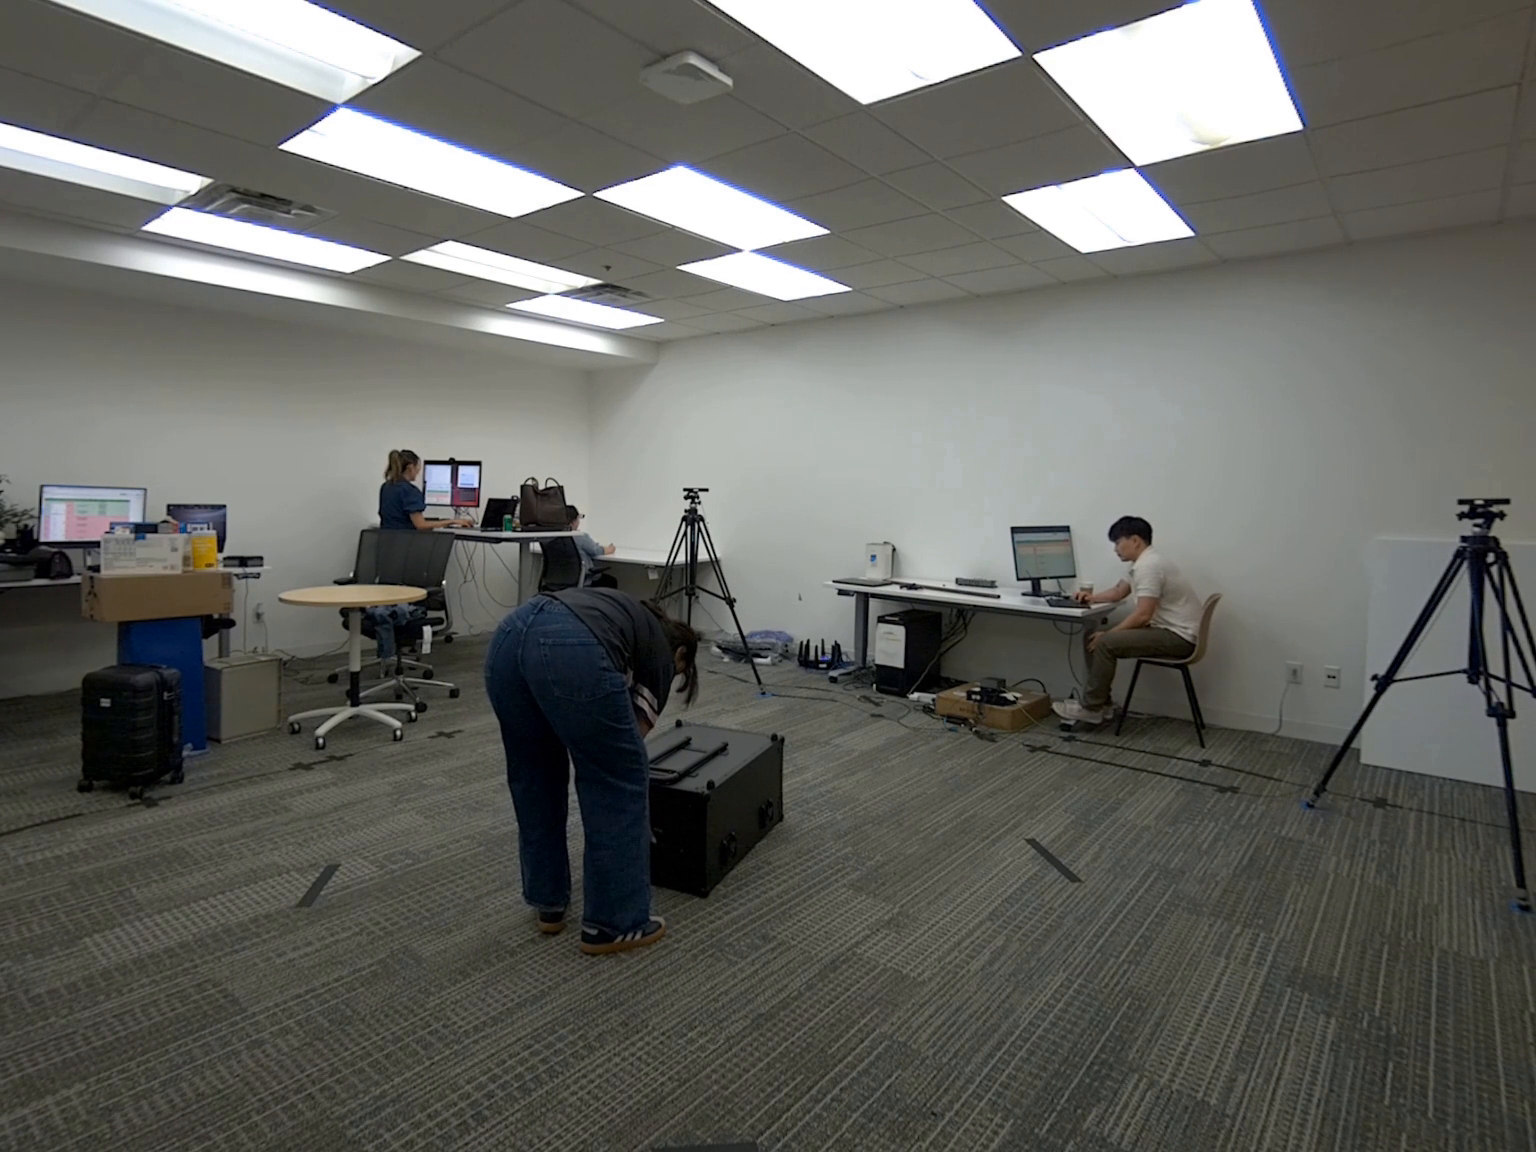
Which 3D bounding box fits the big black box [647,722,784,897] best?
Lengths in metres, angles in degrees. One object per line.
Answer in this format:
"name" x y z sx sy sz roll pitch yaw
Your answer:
"big black box" -0.293 0.846 3.361 0.533 0.395 0.844 2 5 21
